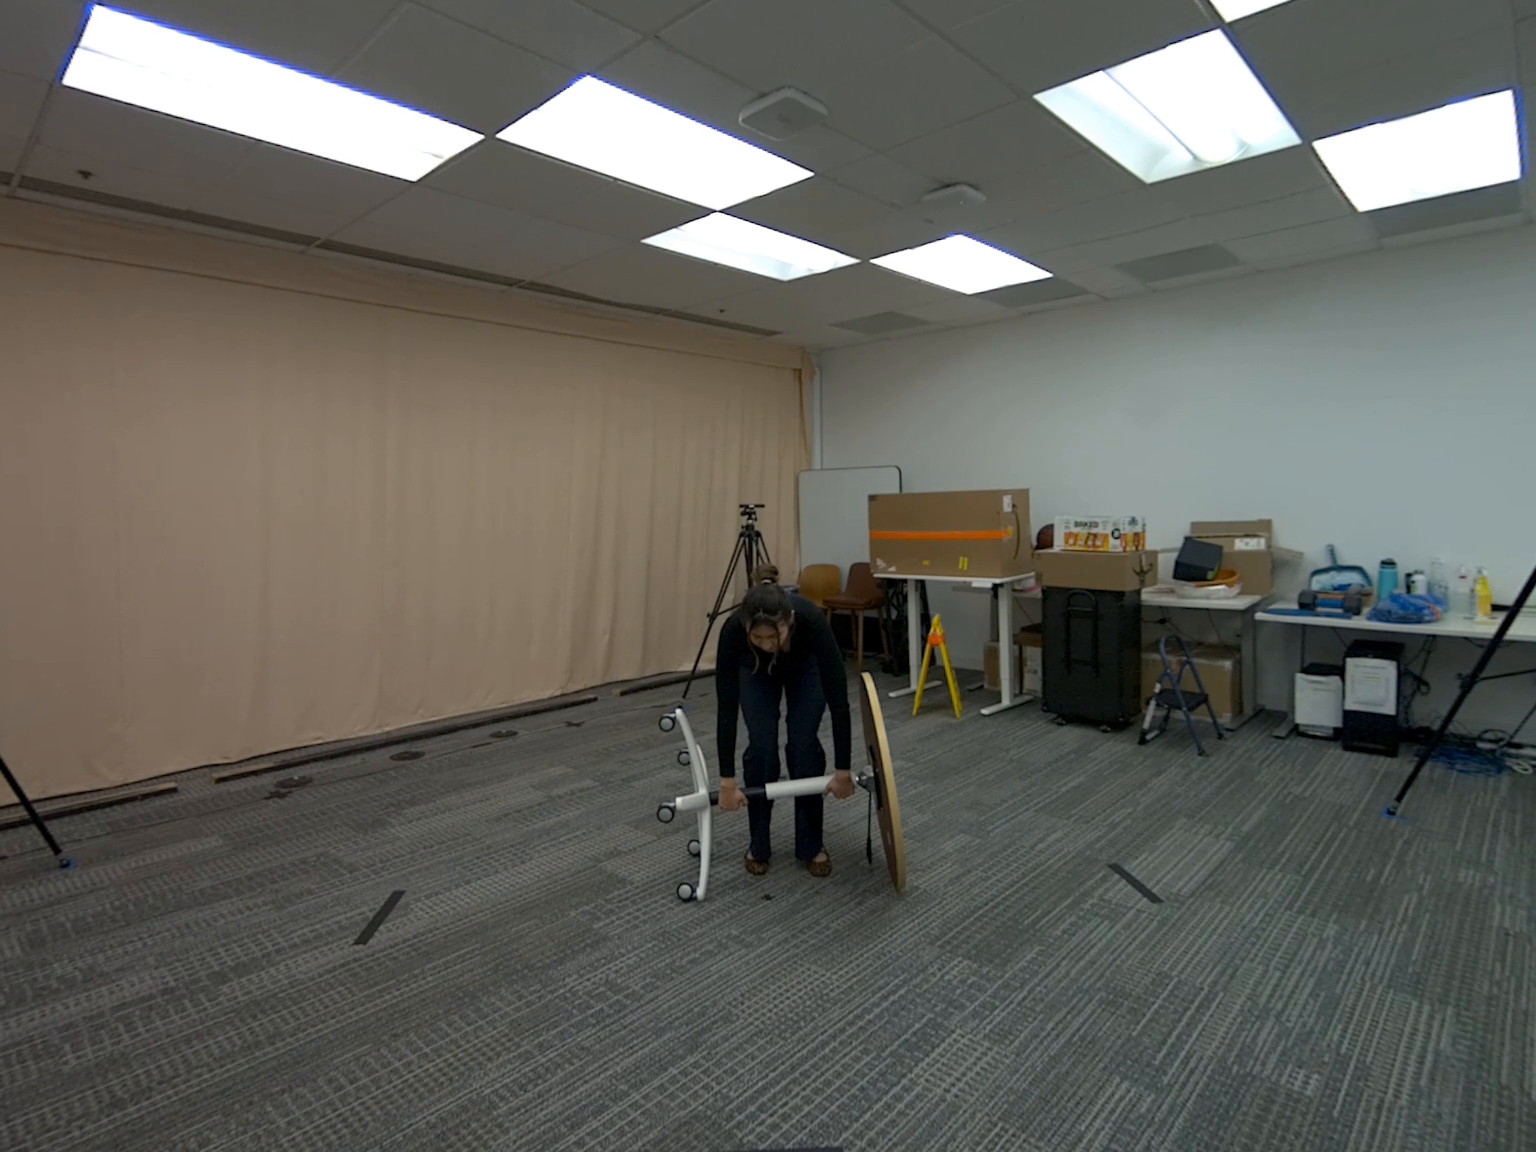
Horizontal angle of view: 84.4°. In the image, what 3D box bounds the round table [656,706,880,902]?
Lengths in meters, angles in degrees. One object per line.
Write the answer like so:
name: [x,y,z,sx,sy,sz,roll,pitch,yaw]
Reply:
round table: [0.036,0.797,3.123,0.797,0.762,0.763,-9,4,2]
